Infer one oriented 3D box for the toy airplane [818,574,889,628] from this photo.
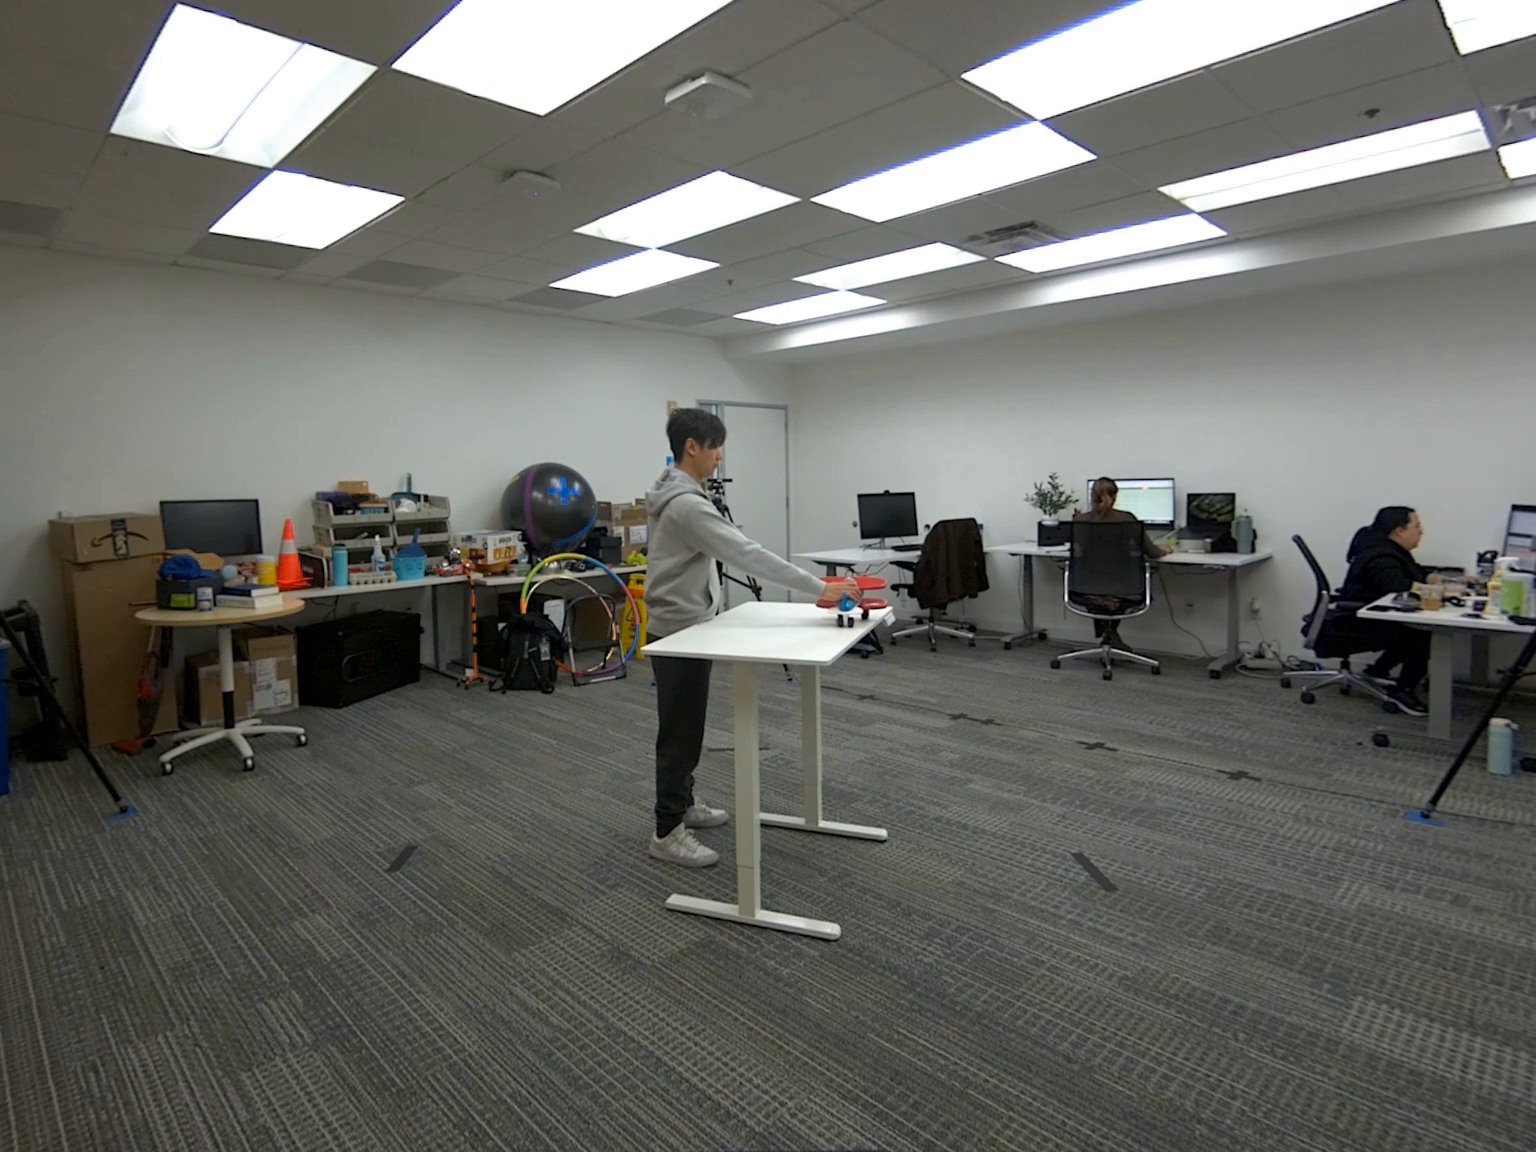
[{"bbox_3d":[0.308,0.088,3.018,0.248,0.156,0.263,-3,6,-13],"label":"toy airplane"}]
